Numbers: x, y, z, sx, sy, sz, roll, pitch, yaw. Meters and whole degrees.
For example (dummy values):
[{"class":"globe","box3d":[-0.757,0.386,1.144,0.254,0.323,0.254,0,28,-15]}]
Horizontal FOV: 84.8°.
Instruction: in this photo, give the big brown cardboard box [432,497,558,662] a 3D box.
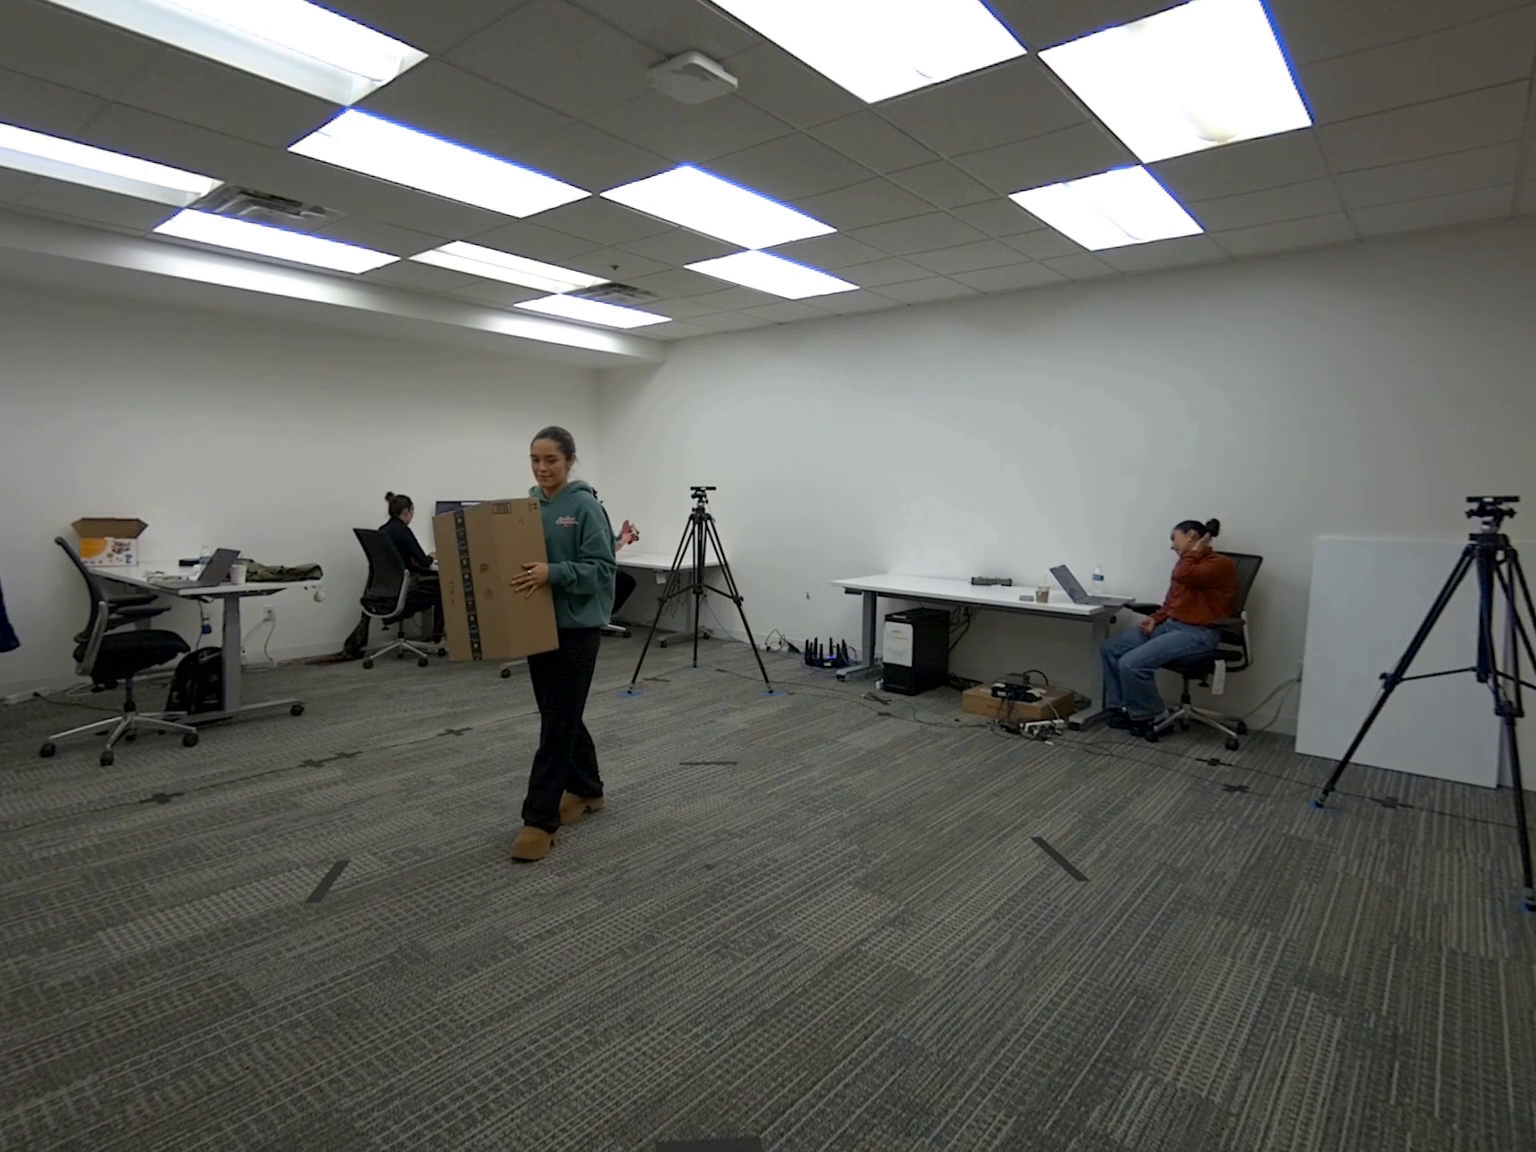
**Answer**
[{"class":"big brown cardboard box","box3d":[-1.047,0.018,3.207,0.429,0.589,0.227,-7,0,41]}]
